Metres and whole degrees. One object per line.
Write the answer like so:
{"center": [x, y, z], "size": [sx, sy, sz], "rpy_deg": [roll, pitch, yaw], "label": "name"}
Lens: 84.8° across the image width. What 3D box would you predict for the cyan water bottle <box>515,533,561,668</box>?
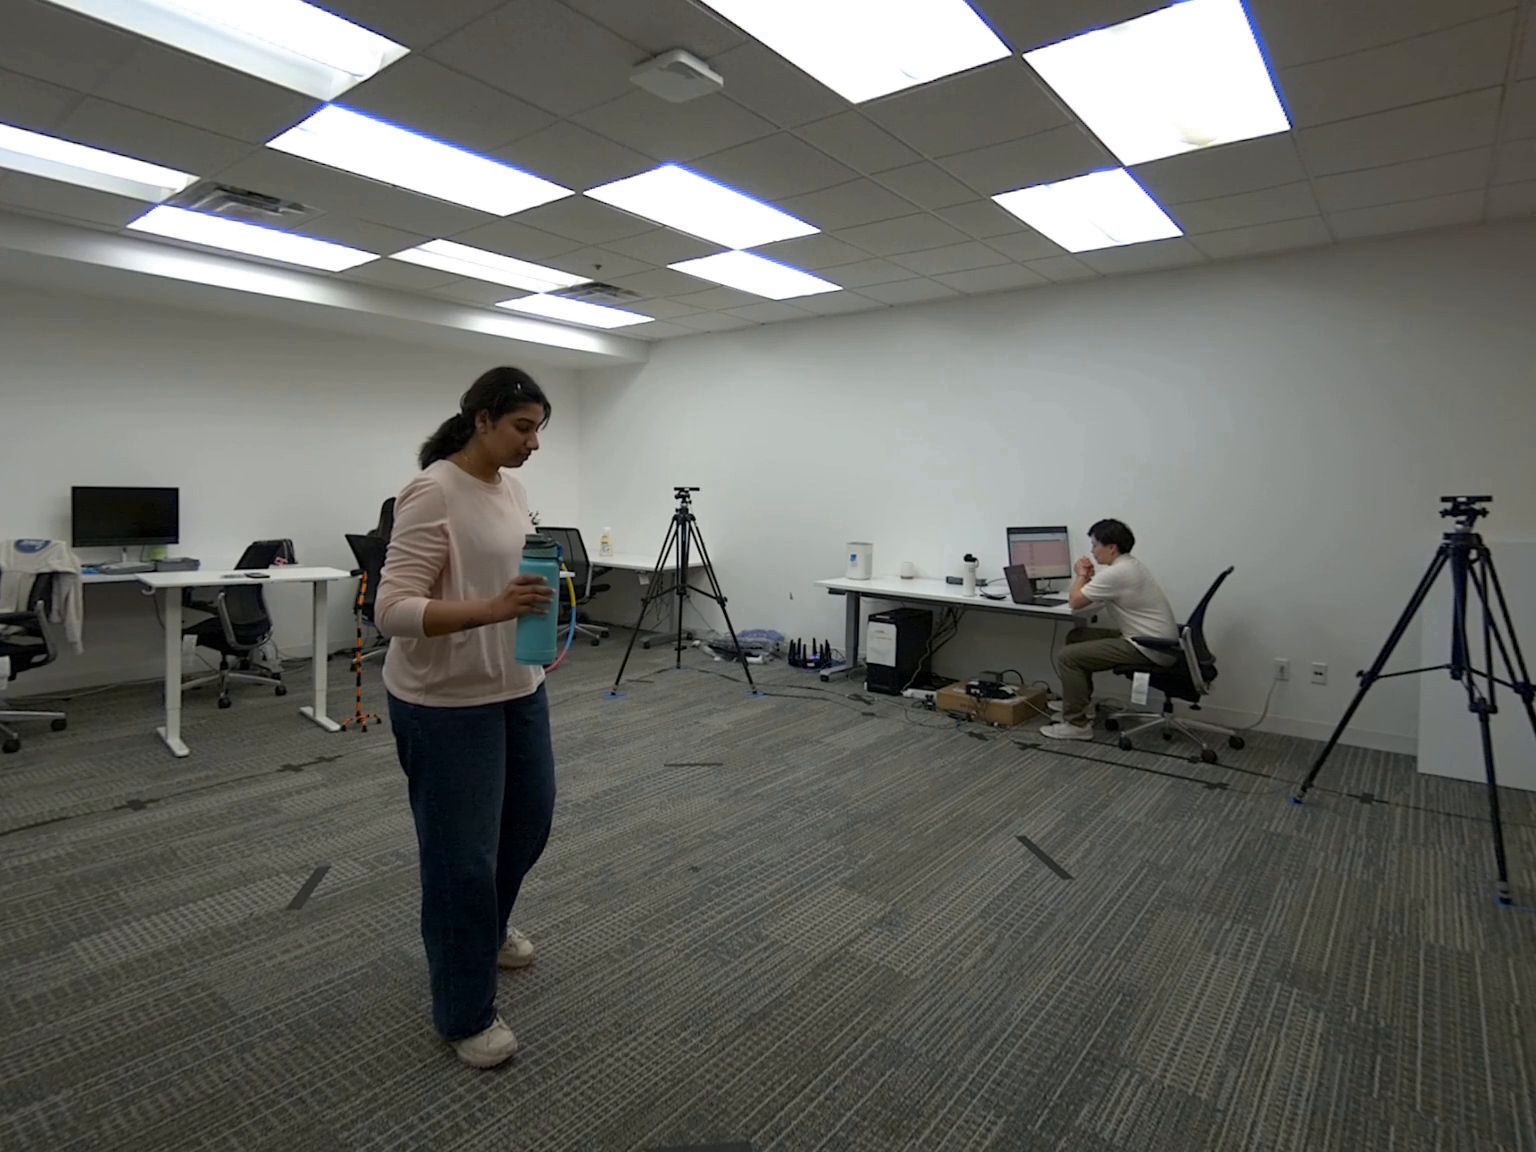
{"center": [-0.518, 0.050, 1.878], "size": [0.092, 0.283, 0.092], "rpy_deg": [4, 1, -2], "label": "cyan water bottle"}
